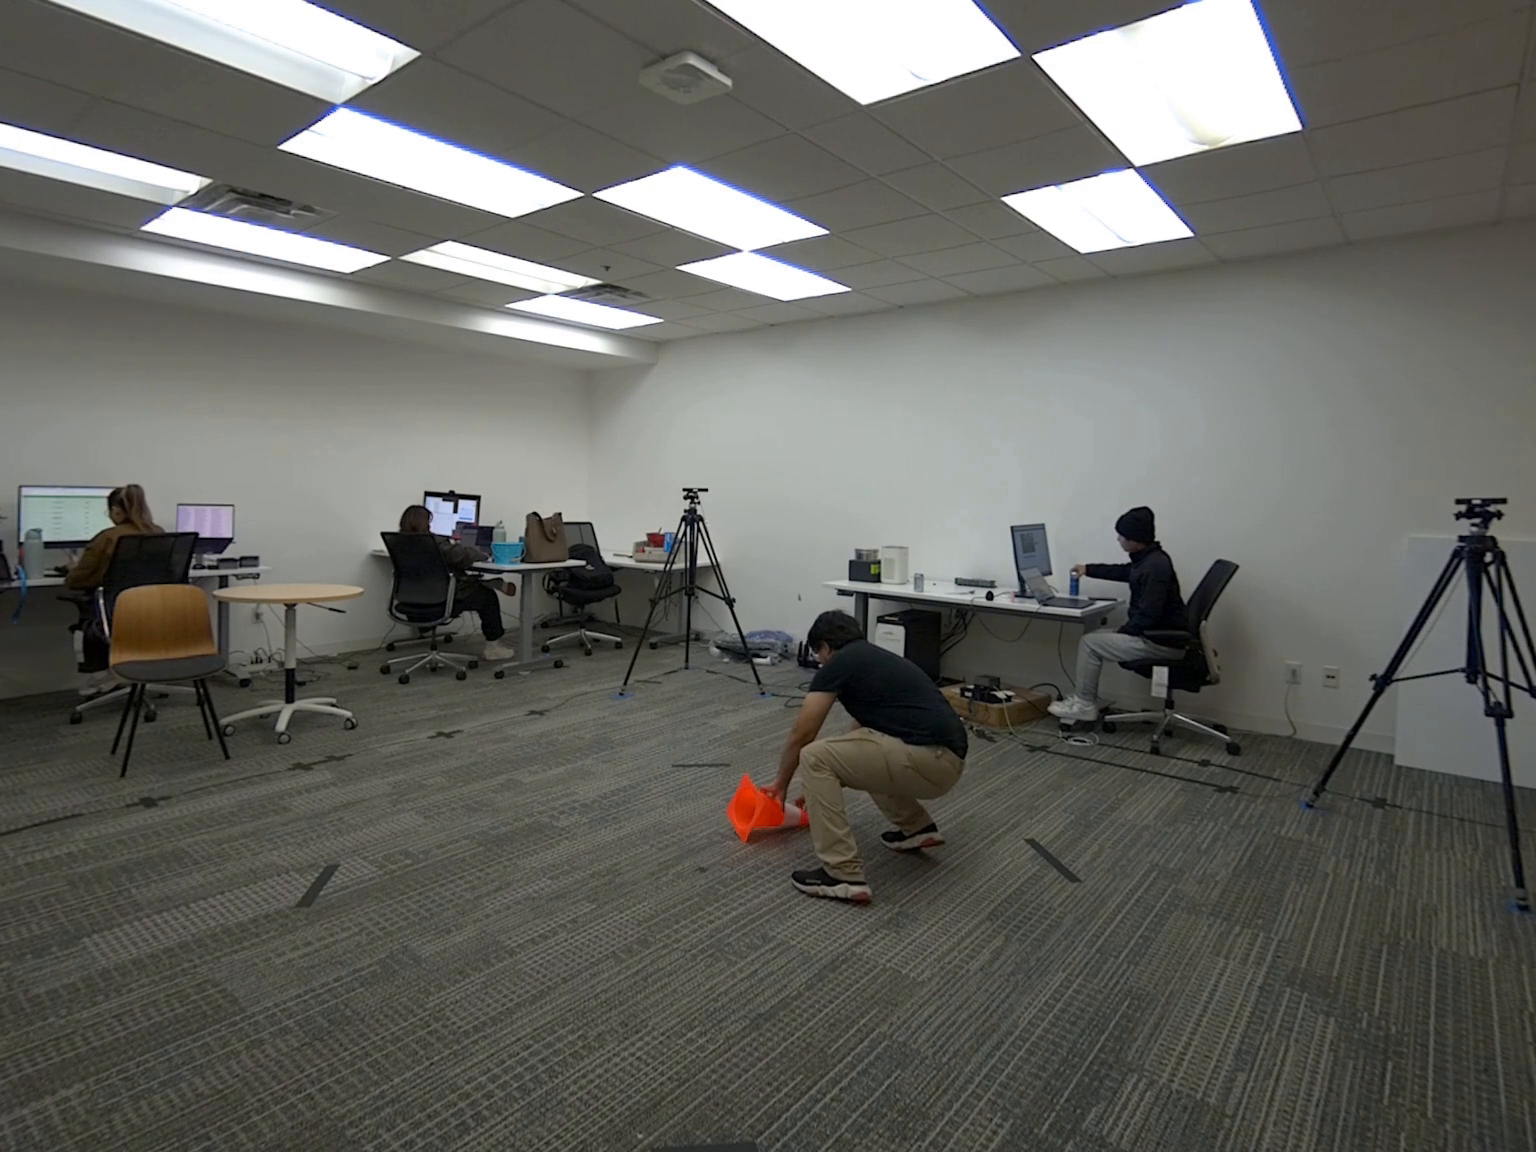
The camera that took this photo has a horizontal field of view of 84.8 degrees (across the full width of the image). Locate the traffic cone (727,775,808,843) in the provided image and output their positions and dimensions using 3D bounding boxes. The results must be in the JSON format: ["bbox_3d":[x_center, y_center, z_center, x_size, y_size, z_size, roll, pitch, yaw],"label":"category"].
[{"bbox_3d":[0.060,0.969,3.488,0.373,0.203,0.211,14,25,-24],"label":"traffic cone"}]
